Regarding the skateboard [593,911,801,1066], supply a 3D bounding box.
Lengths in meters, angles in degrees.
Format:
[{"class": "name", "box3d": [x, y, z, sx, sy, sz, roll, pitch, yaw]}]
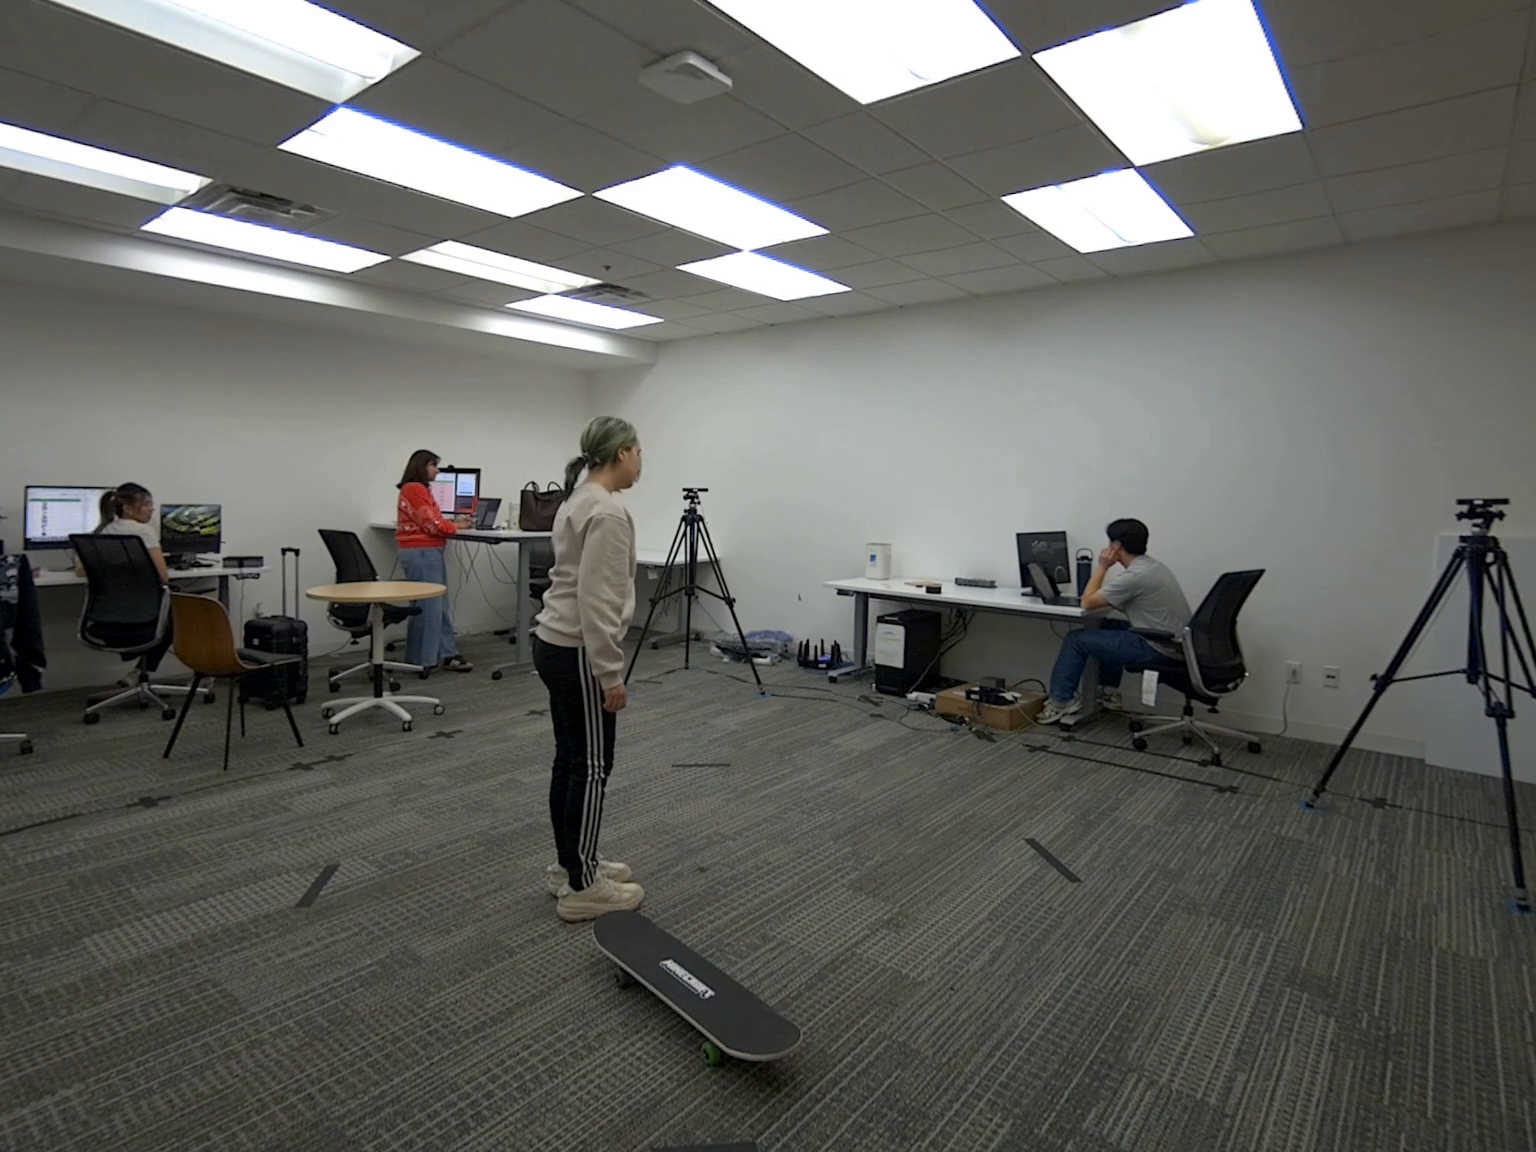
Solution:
[{"class": "skateboard", "box3d": [-0.224, 1.101, 2.253, 0.188, 0.110, 0.813, -4, 8, -41]}]
